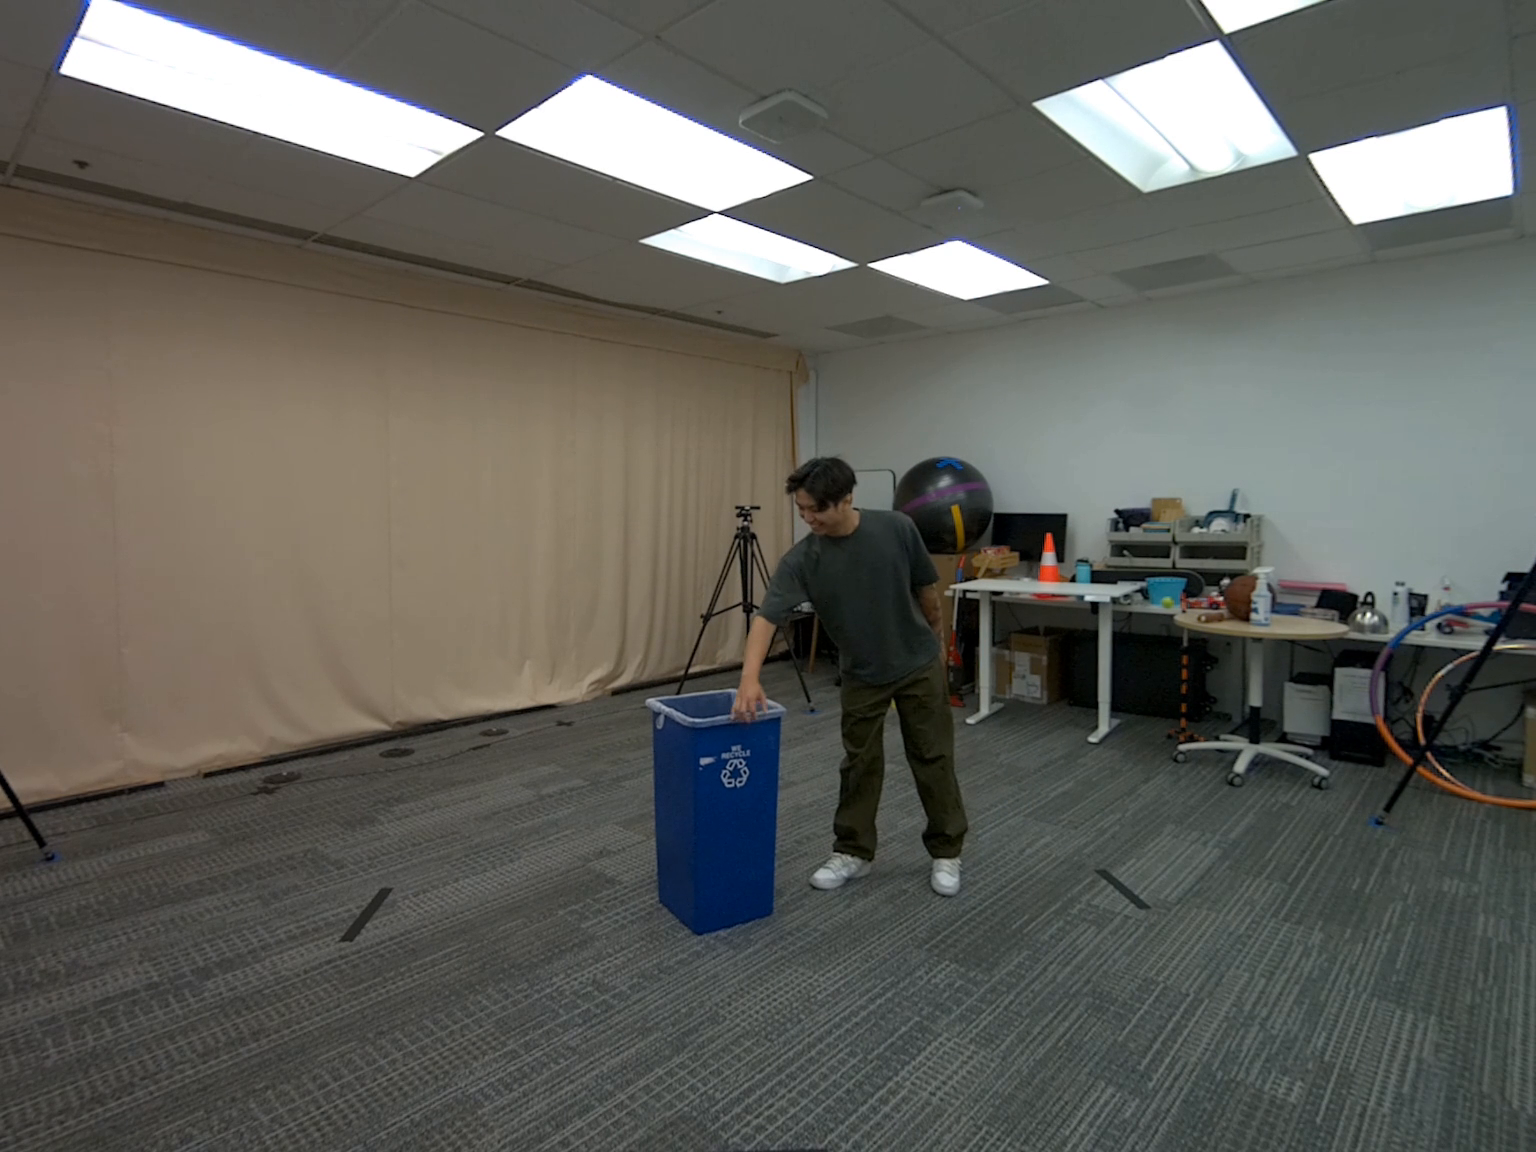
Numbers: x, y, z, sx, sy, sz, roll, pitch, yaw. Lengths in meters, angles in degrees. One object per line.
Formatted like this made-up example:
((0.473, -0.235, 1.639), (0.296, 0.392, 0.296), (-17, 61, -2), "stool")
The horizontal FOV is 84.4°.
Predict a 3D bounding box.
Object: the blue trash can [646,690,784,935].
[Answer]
((-0.176, 0.791, 2.915), (0.364, 0.712, 0.389), (-2, 4, -32), "blue trash can")
